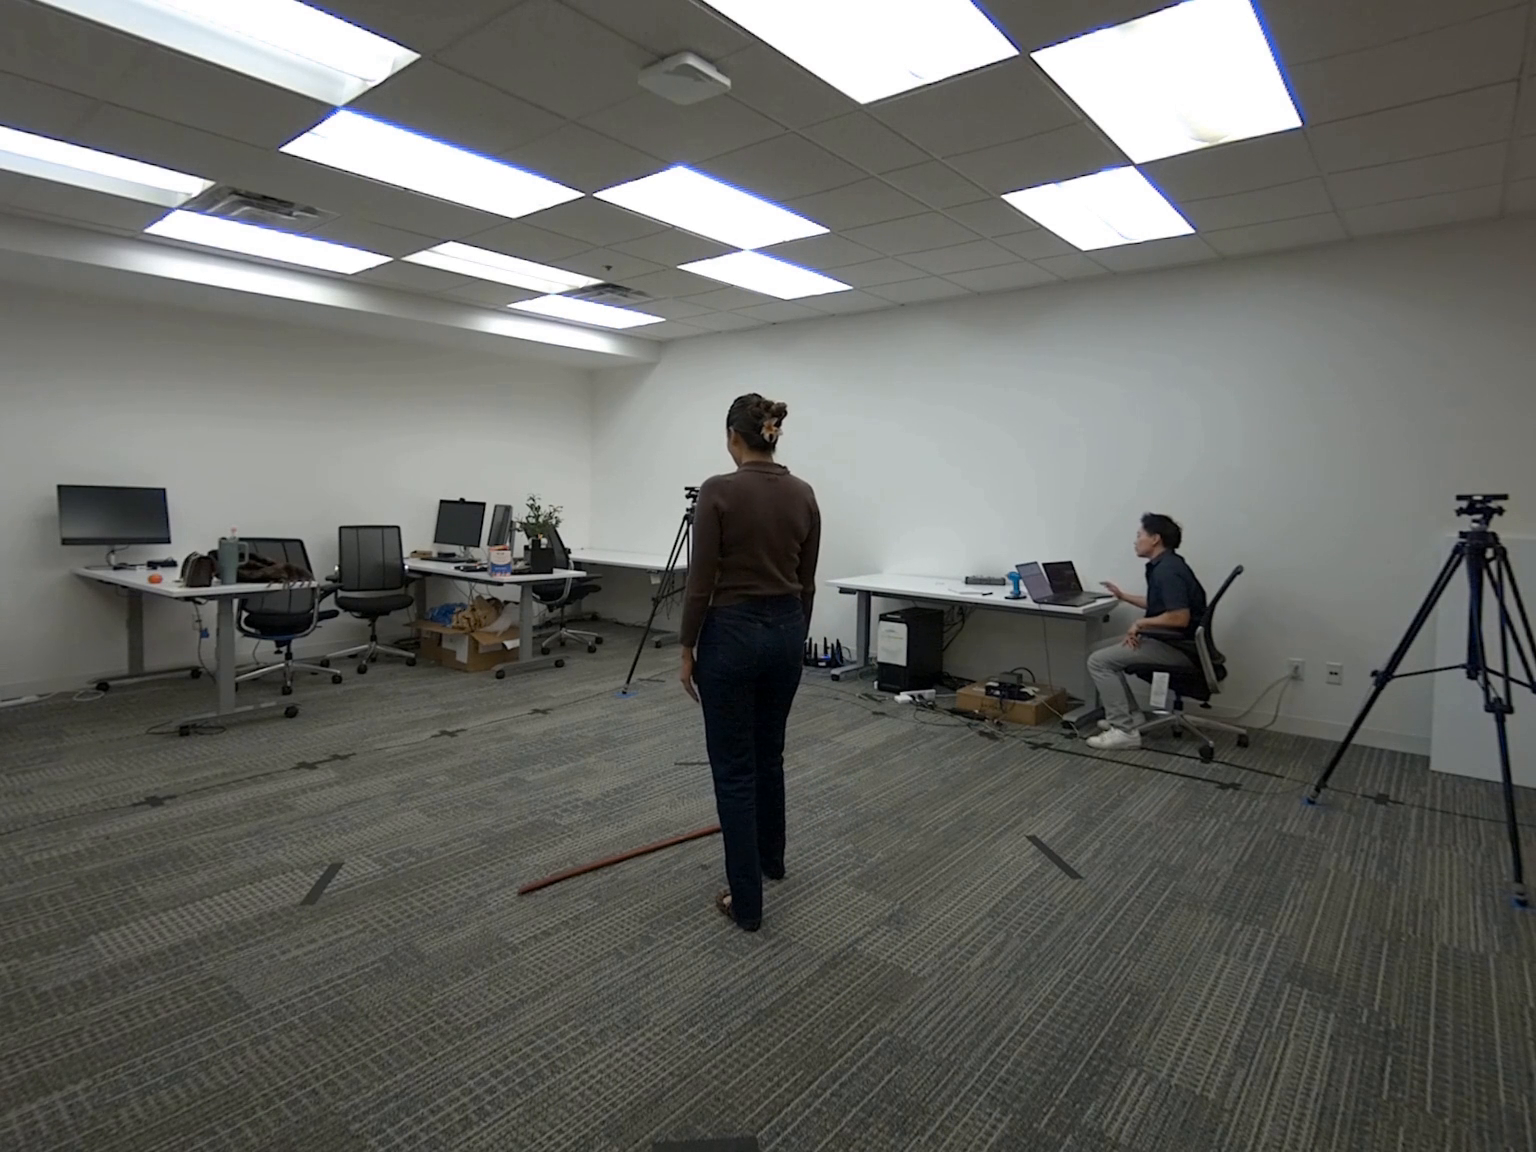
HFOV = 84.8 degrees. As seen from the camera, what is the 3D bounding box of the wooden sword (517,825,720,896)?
[{"bbox_3d":[-0.483,1.029,3.197,0.994,0.025,0.051,-4,-29,-41],"label":"wooden sword"}]
